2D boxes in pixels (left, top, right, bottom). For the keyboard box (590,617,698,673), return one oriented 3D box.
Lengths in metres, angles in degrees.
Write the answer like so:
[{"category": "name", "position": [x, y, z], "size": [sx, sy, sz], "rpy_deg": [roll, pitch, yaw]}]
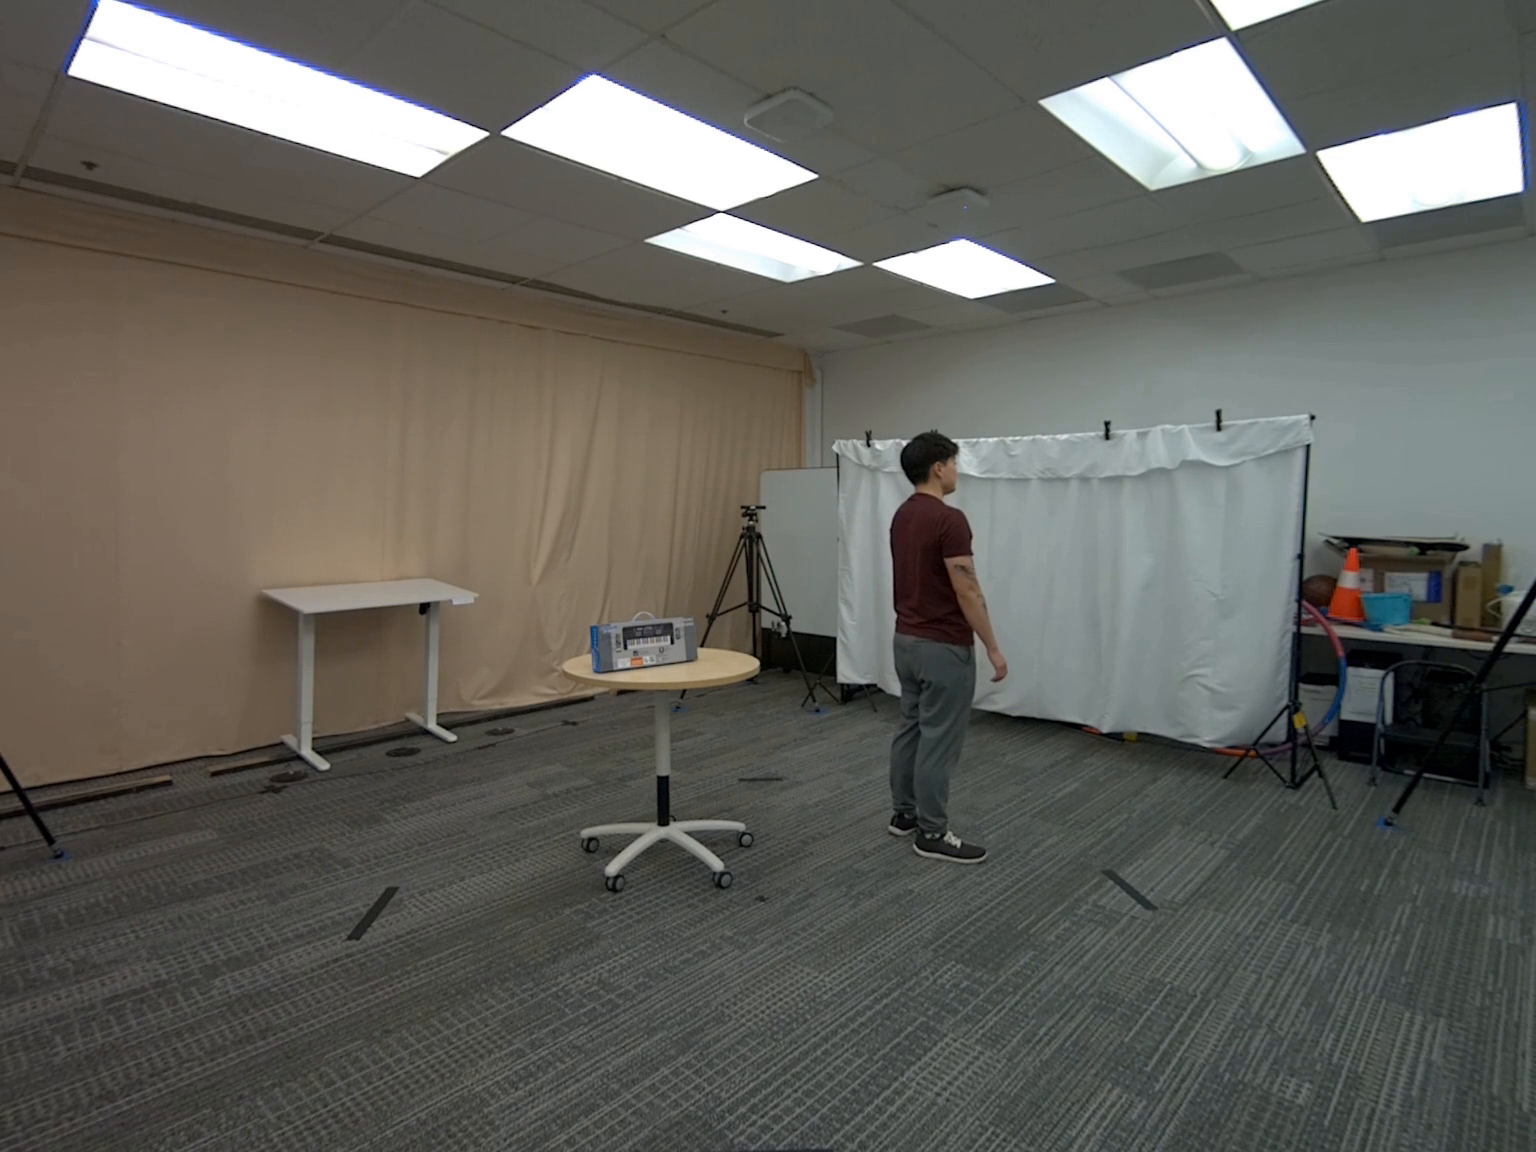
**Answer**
[{"category": "keyboard box", "position": [-0.470, 0.260, 3.217], "size": [0.424, 0.176, 0.061], "rpy_deg": [-3, -3, -37]}]
